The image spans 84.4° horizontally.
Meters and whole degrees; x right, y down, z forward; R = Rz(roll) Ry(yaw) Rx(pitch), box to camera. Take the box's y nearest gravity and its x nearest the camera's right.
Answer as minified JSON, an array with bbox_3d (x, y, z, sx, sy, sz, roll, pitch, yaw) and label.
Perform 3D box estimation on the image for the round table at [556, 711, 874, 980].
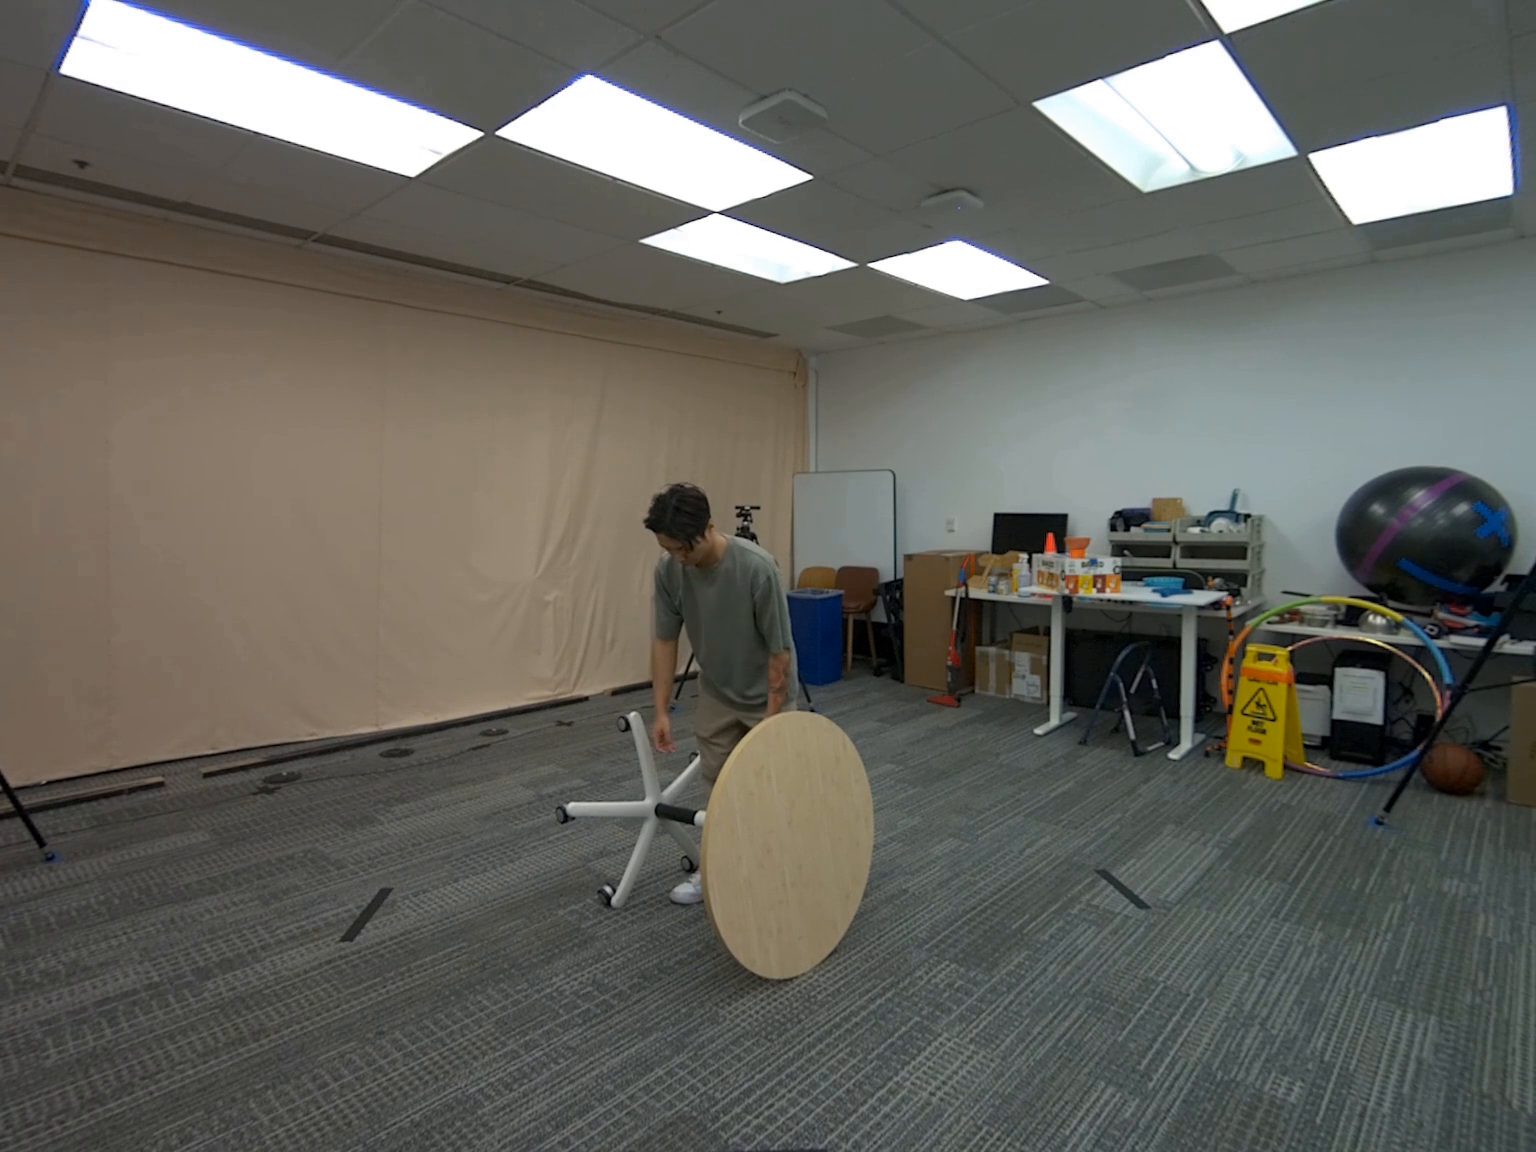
[{"bbox_3d":[-0.202,0.827,2.814,0.810,0.786,0.761,-7,-2,44],"label":"round table"}]
